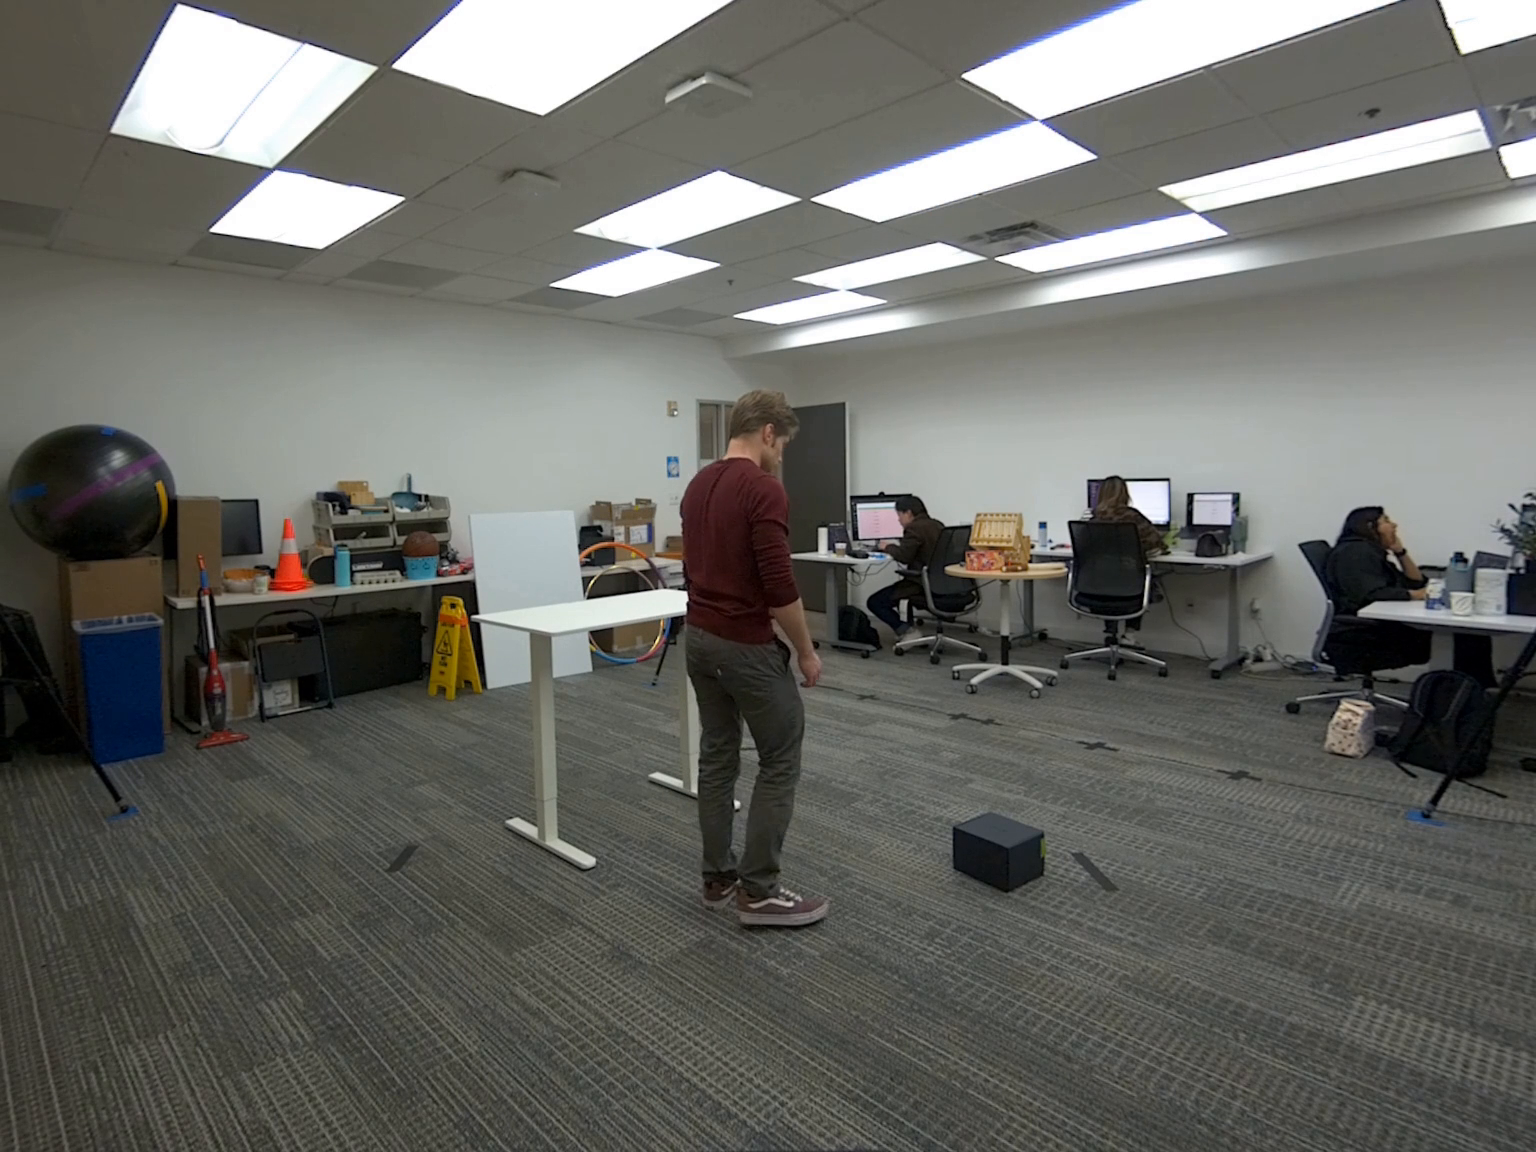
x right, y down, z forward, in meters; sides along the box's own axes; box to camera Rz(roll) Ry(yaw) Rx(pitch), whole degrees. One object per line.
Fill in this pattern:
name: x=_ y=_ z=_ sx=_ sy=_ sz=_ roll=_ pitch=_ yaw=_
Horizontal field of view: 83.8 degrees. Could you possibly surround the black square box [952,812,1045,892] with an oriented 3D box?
black square box: x=0.813 y=0.959 z=2.997 sx=0.211 sy=0.155 sz=0.235 roll=-5 pitch=7 yaw=-38
